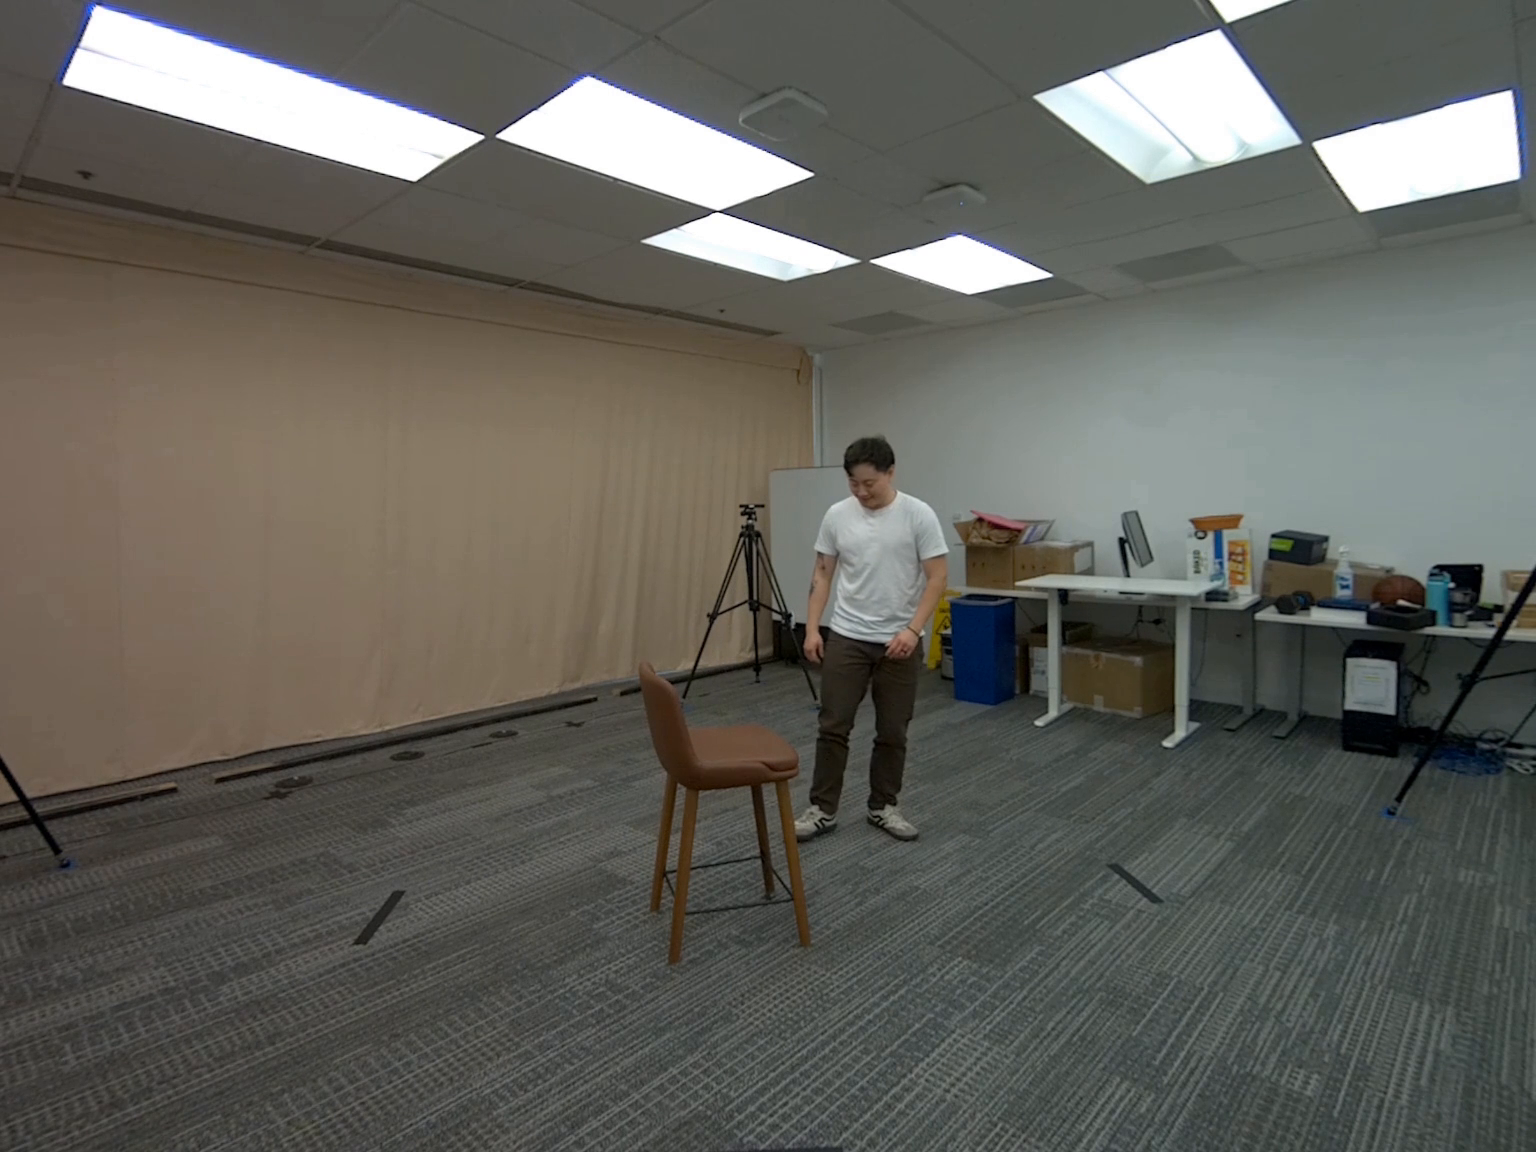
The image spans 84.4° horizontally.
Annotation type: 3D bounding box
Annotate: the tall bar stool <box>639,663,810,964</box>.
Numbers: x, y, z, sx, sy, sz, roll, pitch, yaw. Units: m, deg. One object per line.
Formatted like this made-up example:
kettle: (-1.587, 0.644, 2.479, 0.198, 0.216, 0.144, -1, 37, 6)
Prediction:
tall bar stool: (-0.152, 0.725, 2.765, 0.460, 0.888, 0.465, -4, 4, -16)
